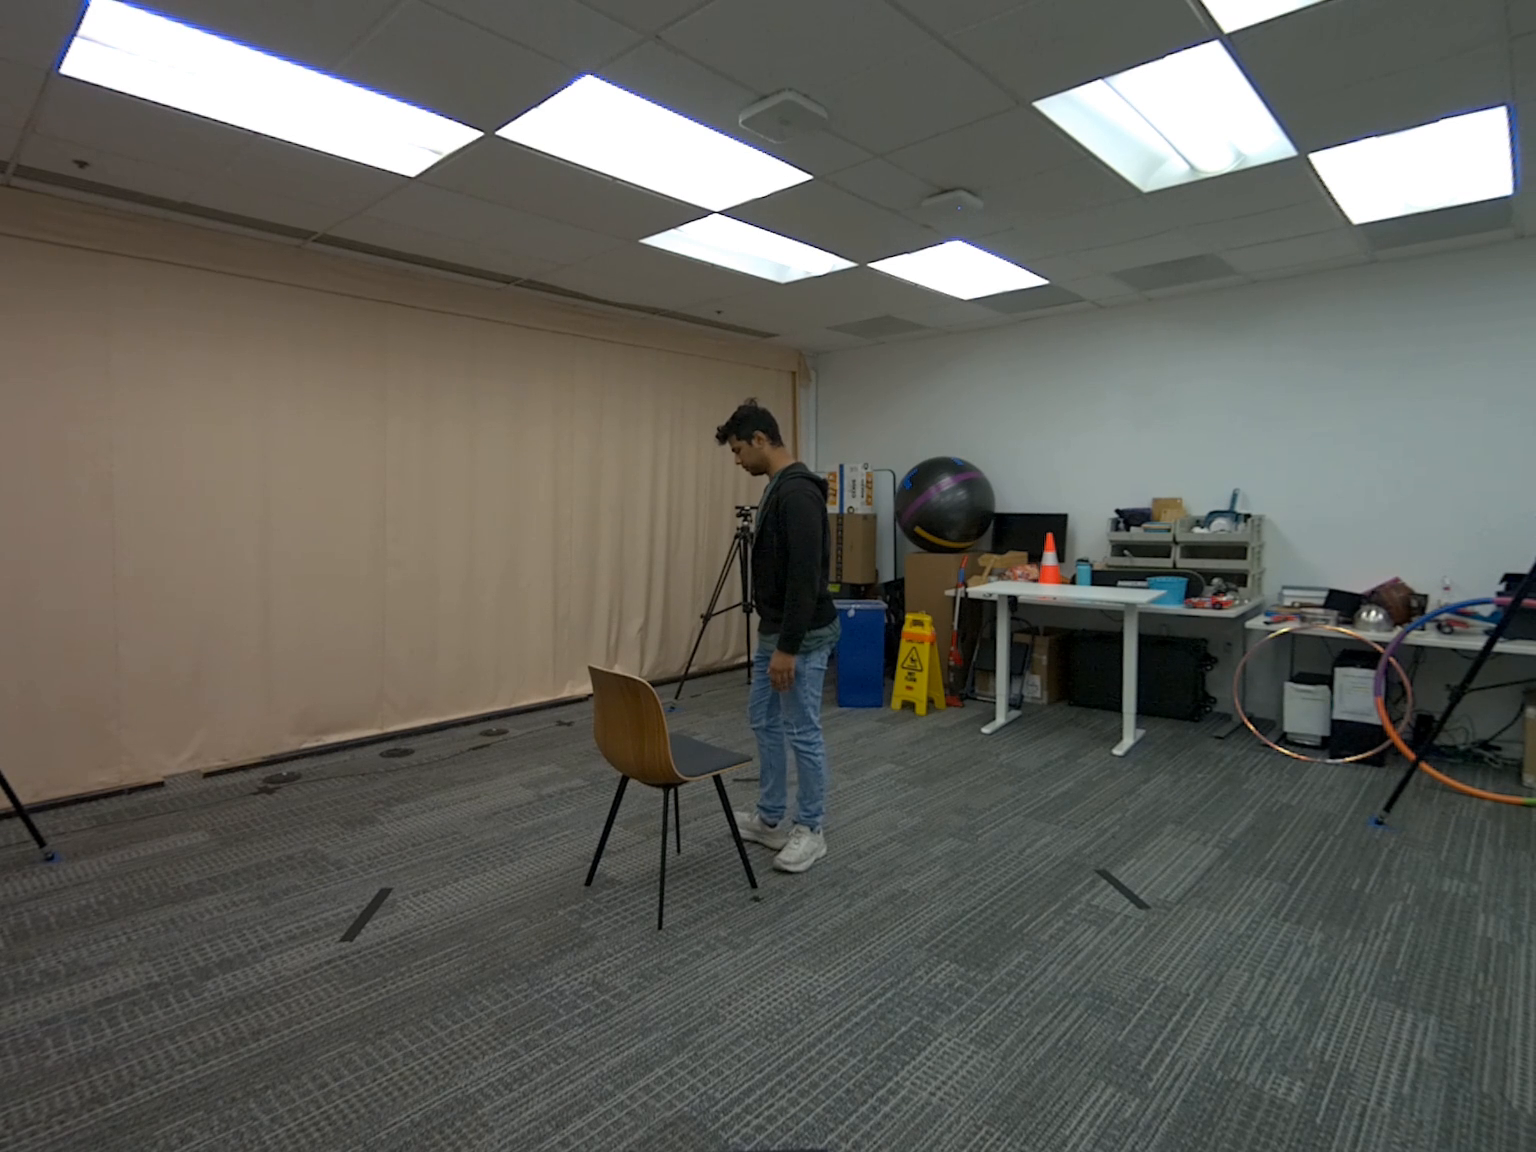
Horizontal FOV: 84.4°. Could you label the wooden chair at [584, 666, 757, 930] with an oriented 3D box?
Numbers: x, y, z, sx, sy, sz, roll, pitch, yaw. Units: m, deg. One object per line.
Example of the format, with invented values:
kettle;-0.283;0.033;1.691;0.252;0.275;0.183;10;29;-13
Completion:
wooden chair;-0.353;0.717;3.052;0.508;0.874;0.494;-9;8;-43
